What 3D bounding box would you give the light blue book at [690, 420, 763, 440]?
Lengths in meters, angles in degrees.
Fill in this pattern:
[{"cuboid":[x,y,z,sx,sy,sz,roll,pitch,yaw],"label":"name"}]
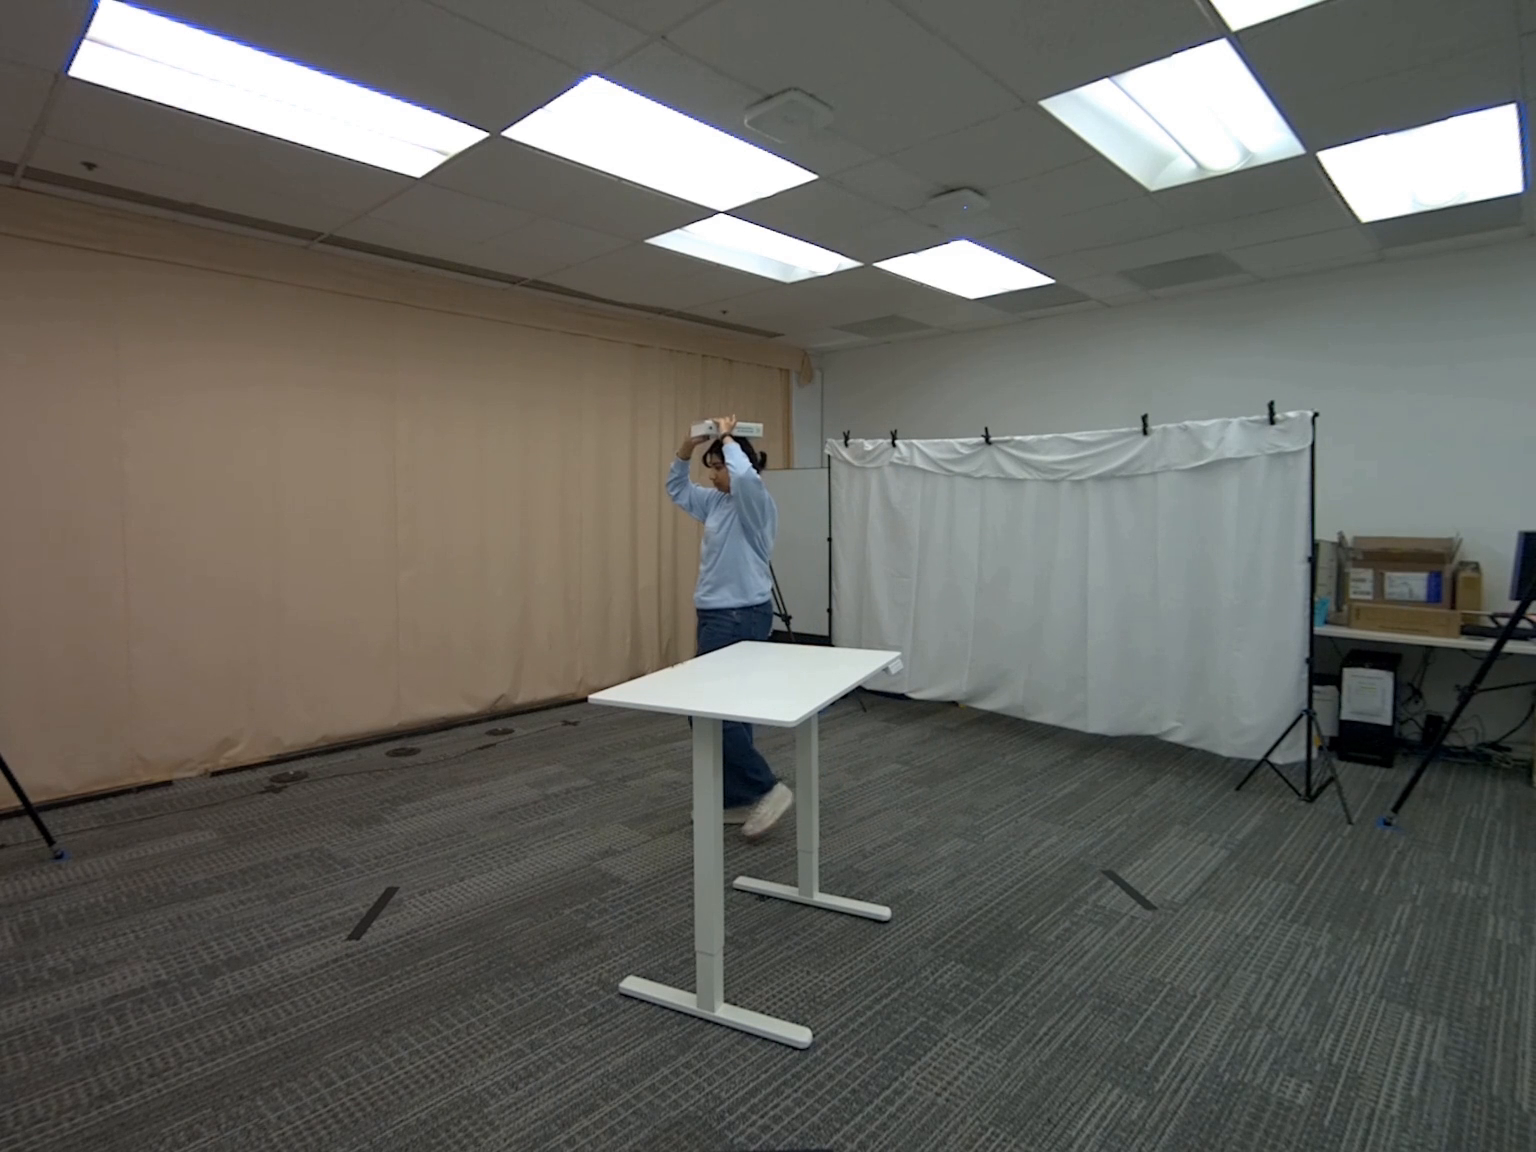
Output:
[{"cuboid":[-0.181,-0.622,3.597,0.256,0.059,0.195,-1,5,-18],"label":"light blue book"}]
